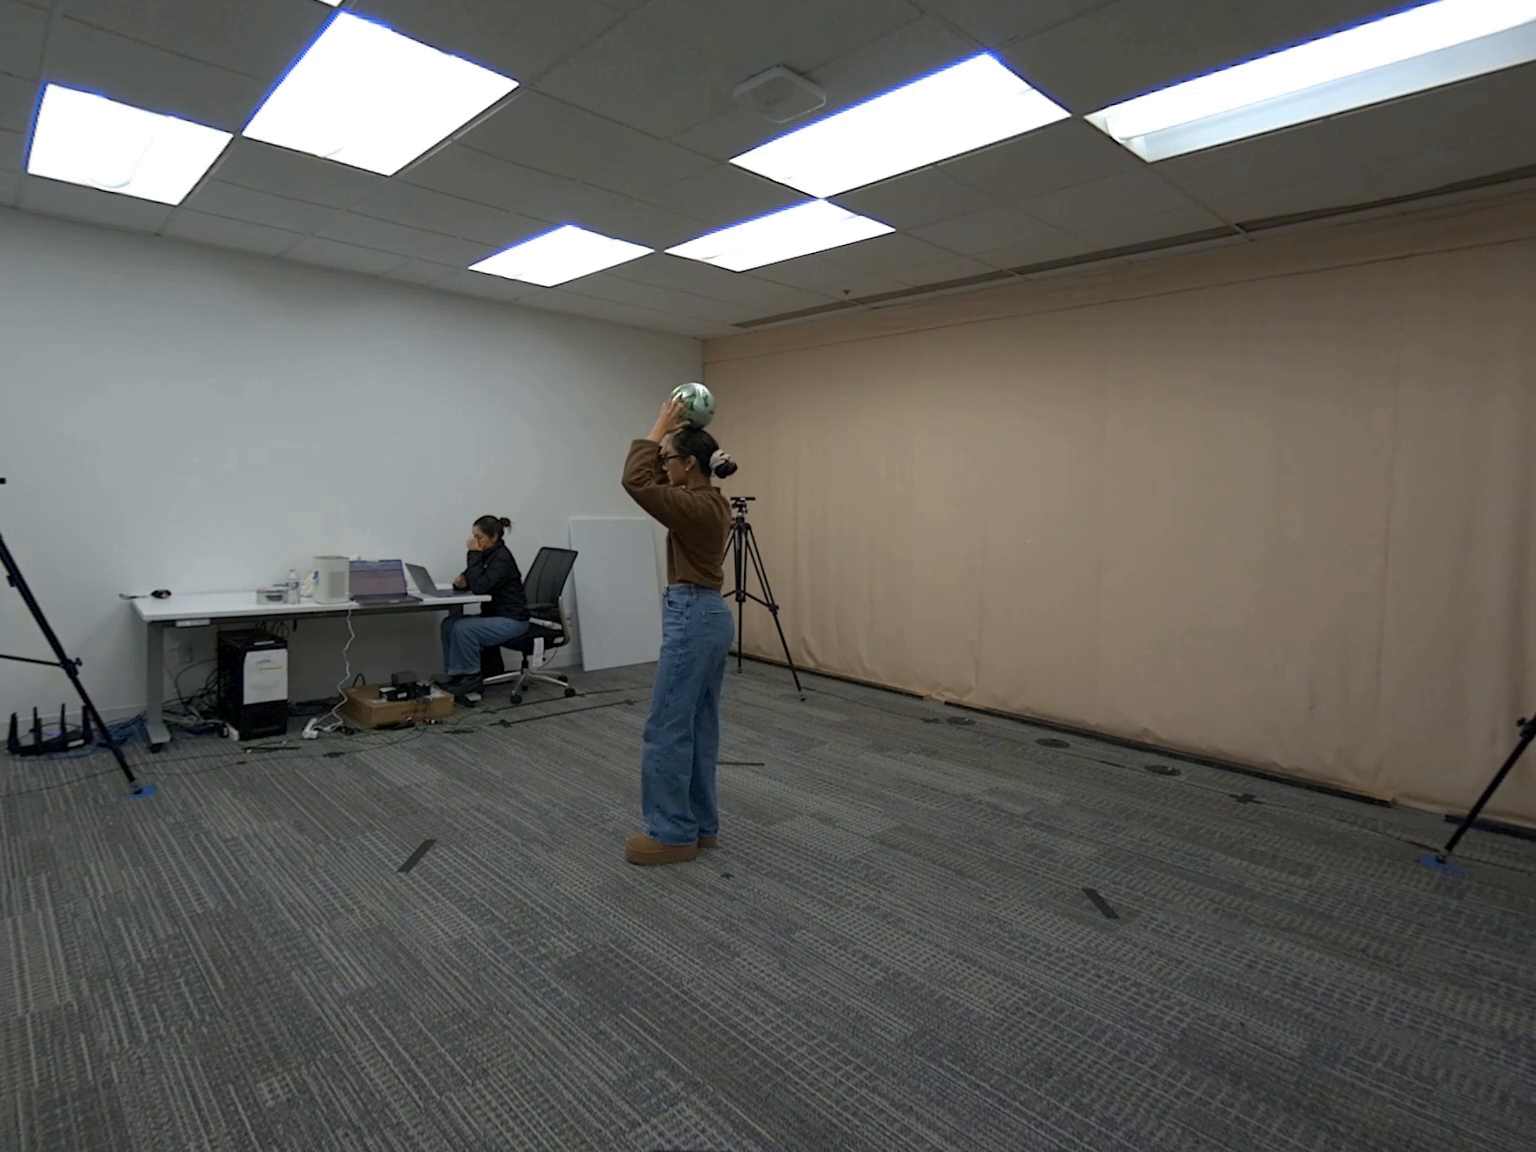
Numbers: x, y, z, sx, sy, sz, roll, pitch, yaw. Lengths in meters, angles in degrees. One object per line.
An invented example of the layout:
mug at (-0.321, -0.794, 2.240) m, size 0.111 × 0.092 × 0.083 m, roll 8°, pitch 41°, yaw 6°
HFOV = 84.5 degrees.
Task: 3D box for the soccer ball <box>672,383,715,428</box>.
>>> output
soccer ball at (-0.301, -0.661, 3.273) m, size 0.187 × 0.187 × 0.188 m, roll 1°, pitch 4°, yaw -1°
